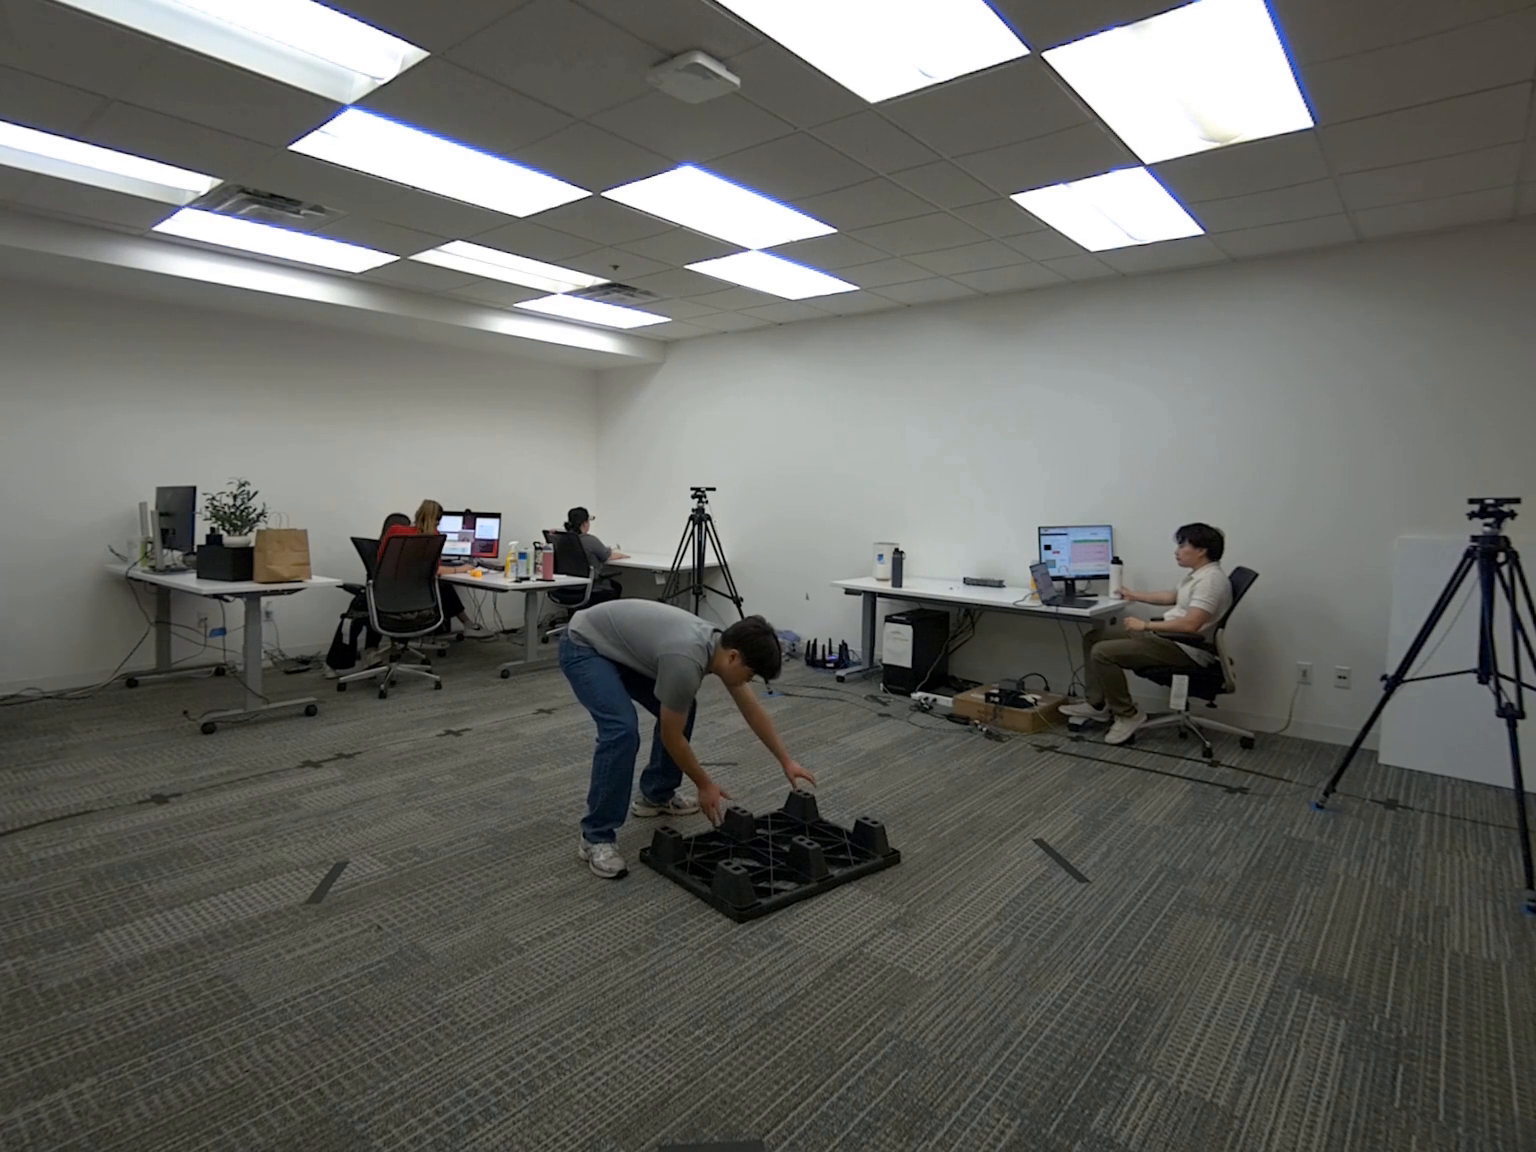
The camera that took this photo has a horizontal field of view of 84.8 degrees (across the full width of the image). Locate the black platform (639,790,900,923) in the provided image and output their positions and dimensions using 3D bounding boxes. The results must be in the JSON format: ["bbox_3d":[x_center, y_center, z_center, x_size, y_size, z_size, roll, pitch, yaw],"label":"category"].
[{"bbox_3d":[0.003,0.998,3.171,0.782,0.143,0.625,-4,7,-40],"label":"black platform"}]
